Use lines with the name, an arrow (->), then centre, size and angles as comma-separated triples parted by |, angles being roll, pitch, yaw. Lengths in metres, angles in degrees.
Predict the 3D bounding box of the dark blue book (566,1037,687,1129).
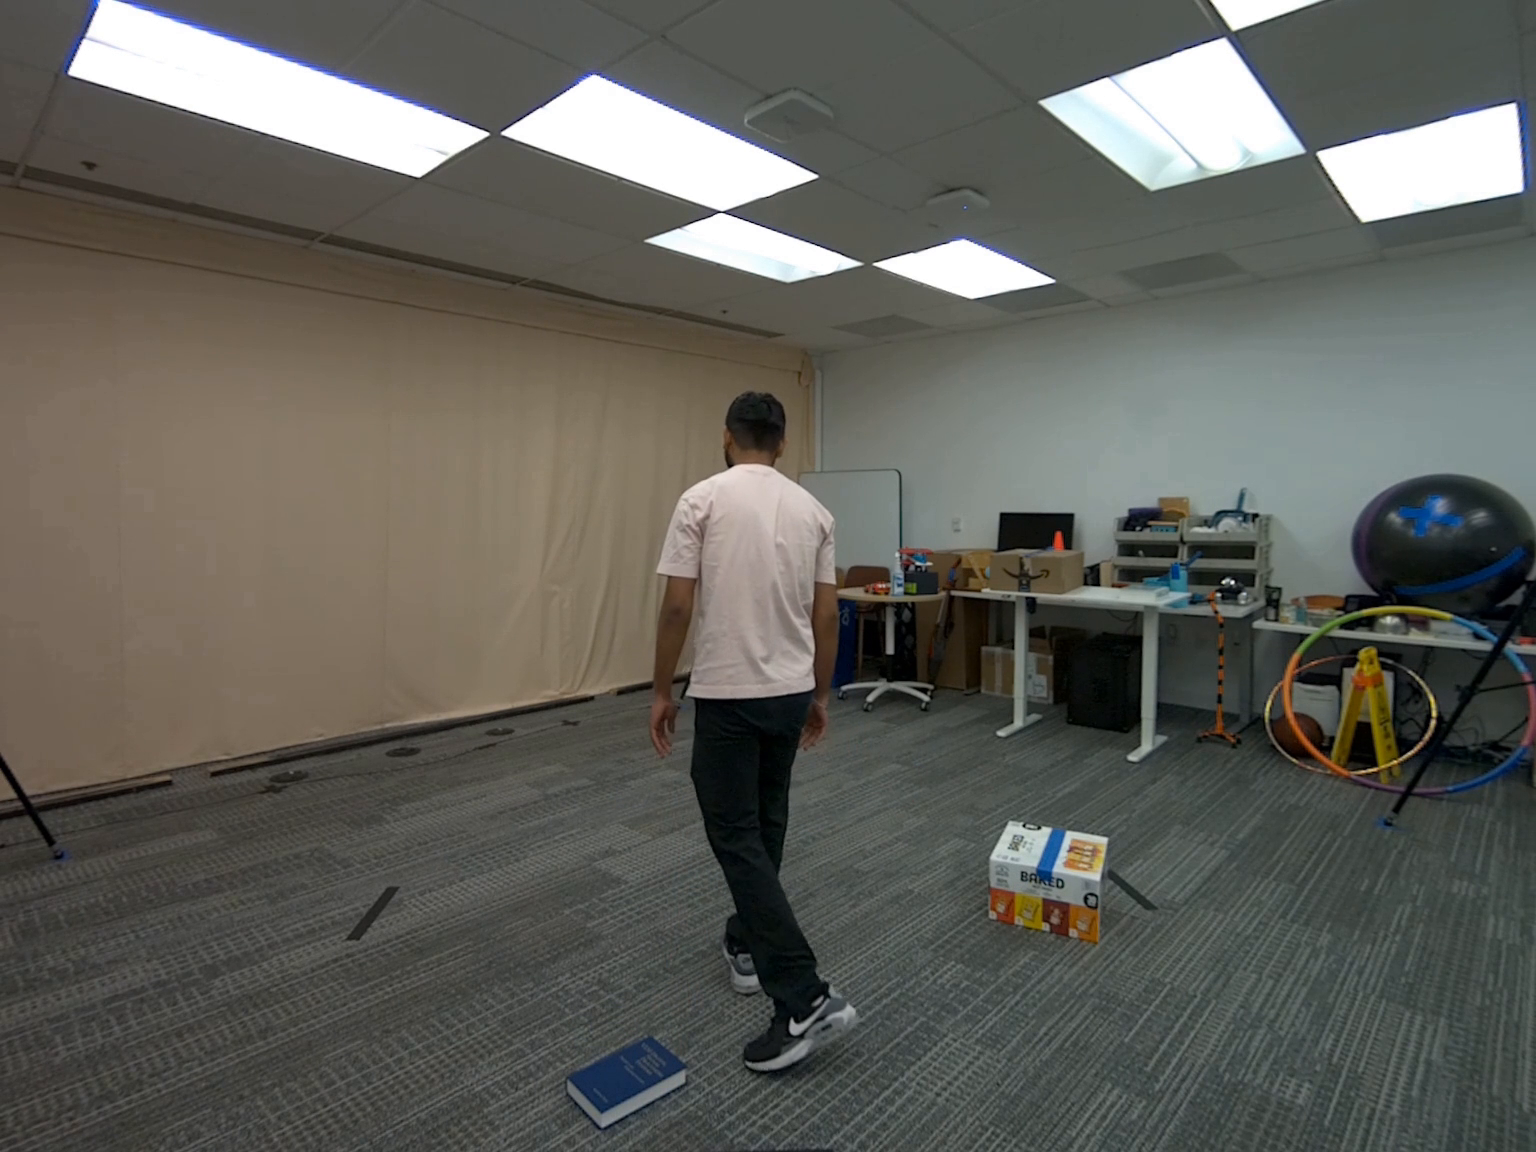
dark blue book -> -0.334, 1.211, 2.003 | 0.237, 0.045, 0.169 | -3, 6, -41
